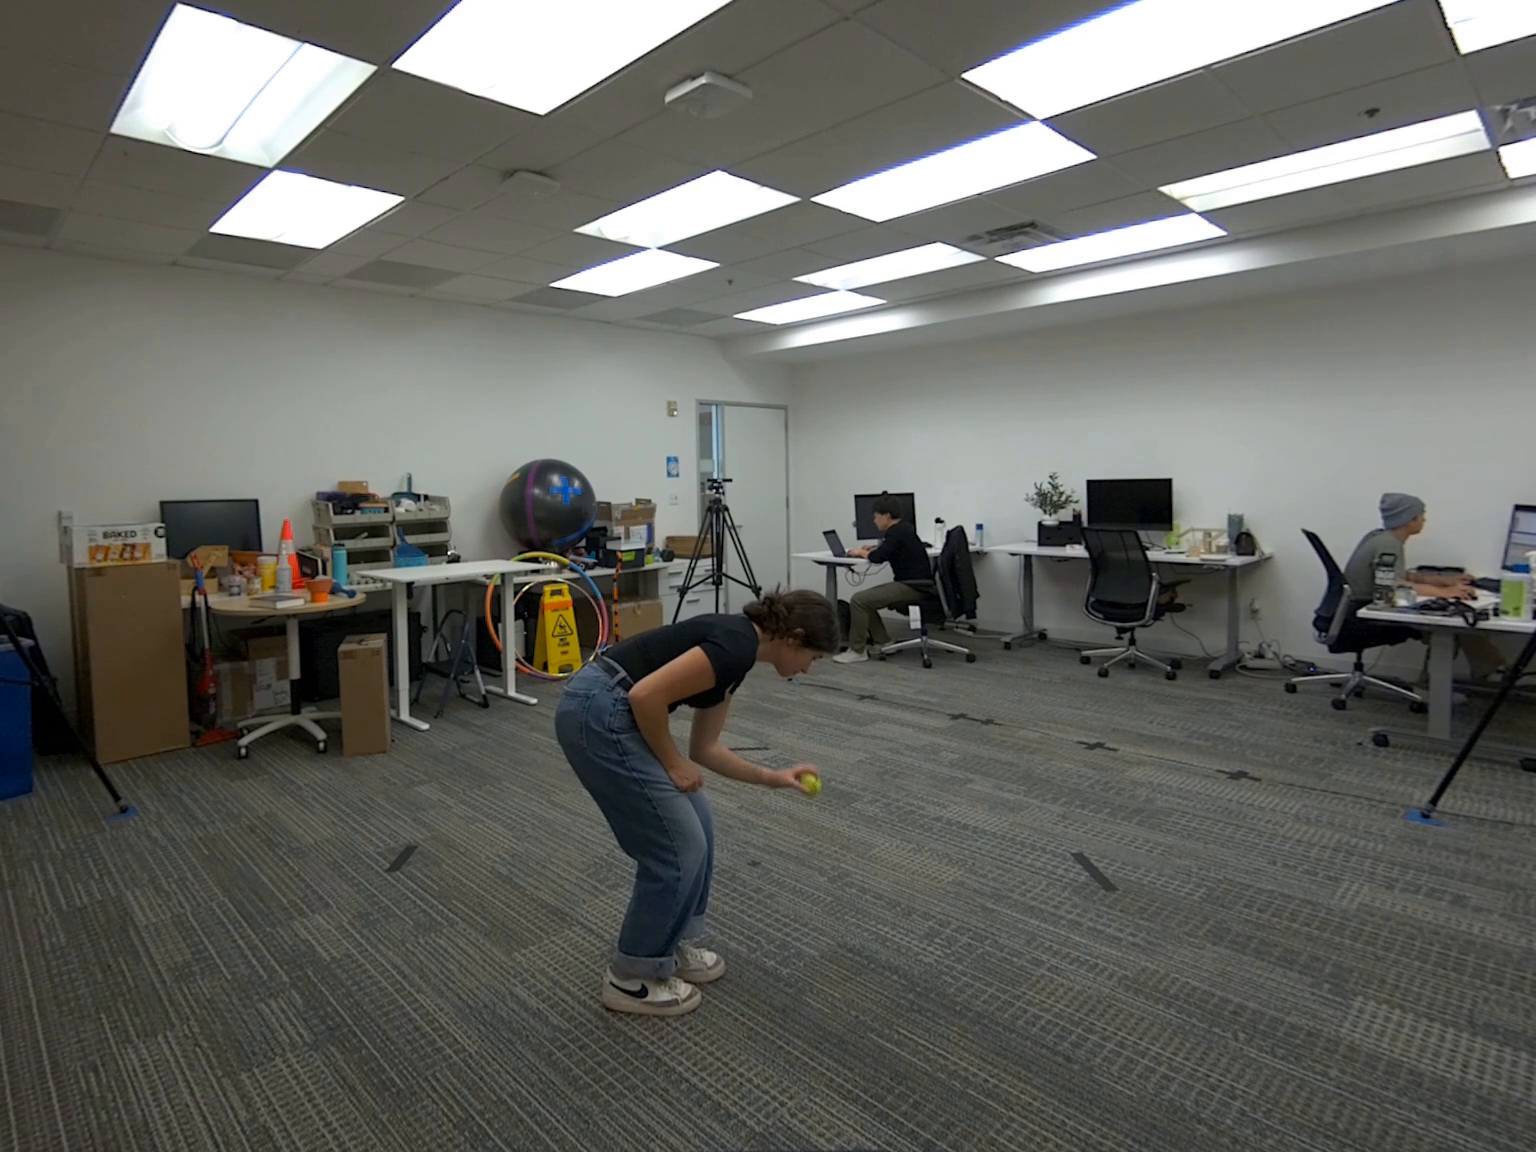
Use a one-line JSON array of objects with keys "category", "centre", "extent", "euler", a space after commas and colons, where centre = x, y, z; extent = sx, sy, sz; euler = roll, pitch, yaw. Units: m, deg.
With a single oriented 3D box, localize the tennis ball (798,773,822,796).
[{"category": "tennis ball", "centre": [0.118, 0.646, 2.516], "extent": [0.066, 0.066, 0.067], "euler": [-1, 5, -2]}]
